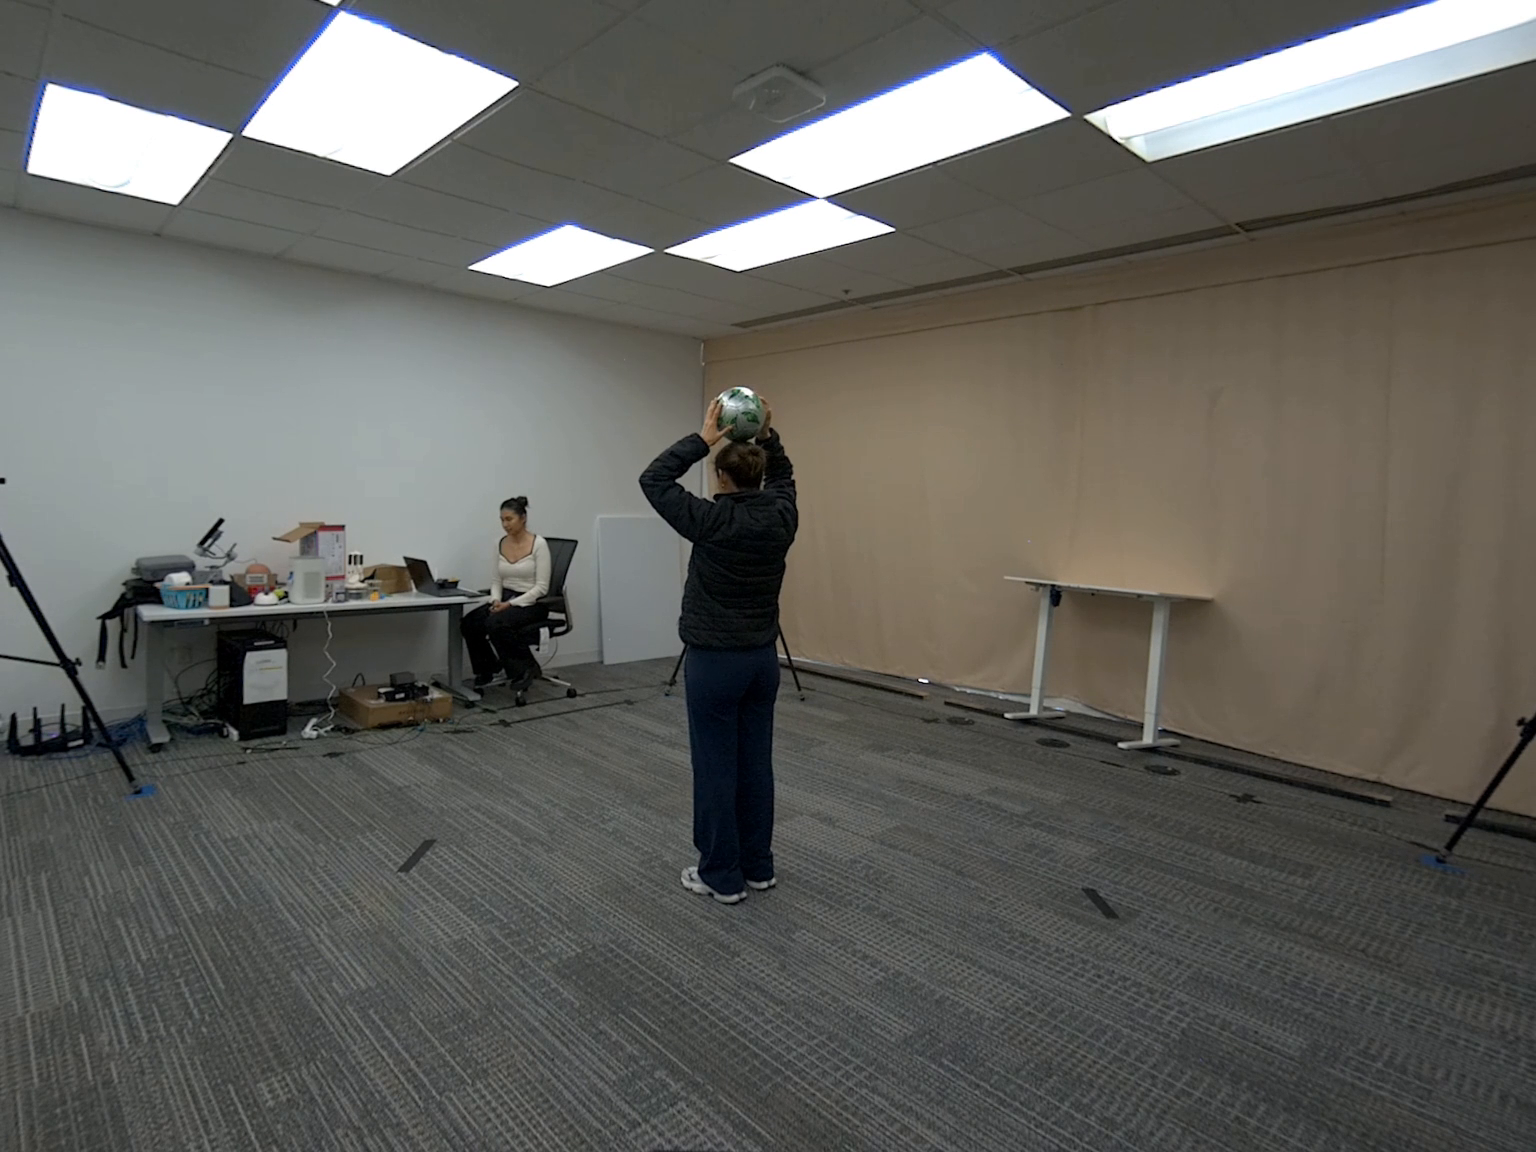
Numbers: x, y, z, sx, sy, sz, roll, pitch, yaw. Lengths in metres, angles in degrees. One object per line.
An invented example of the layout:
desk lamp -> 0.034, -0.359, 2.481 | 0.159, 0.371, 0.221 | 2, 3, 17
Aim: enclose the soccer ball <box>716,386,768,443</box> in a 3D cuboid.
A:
soccer ball -> -0.105, -0.561, 2.945 | 0.187, 0.187, 0.188 | 1, 4, -1
